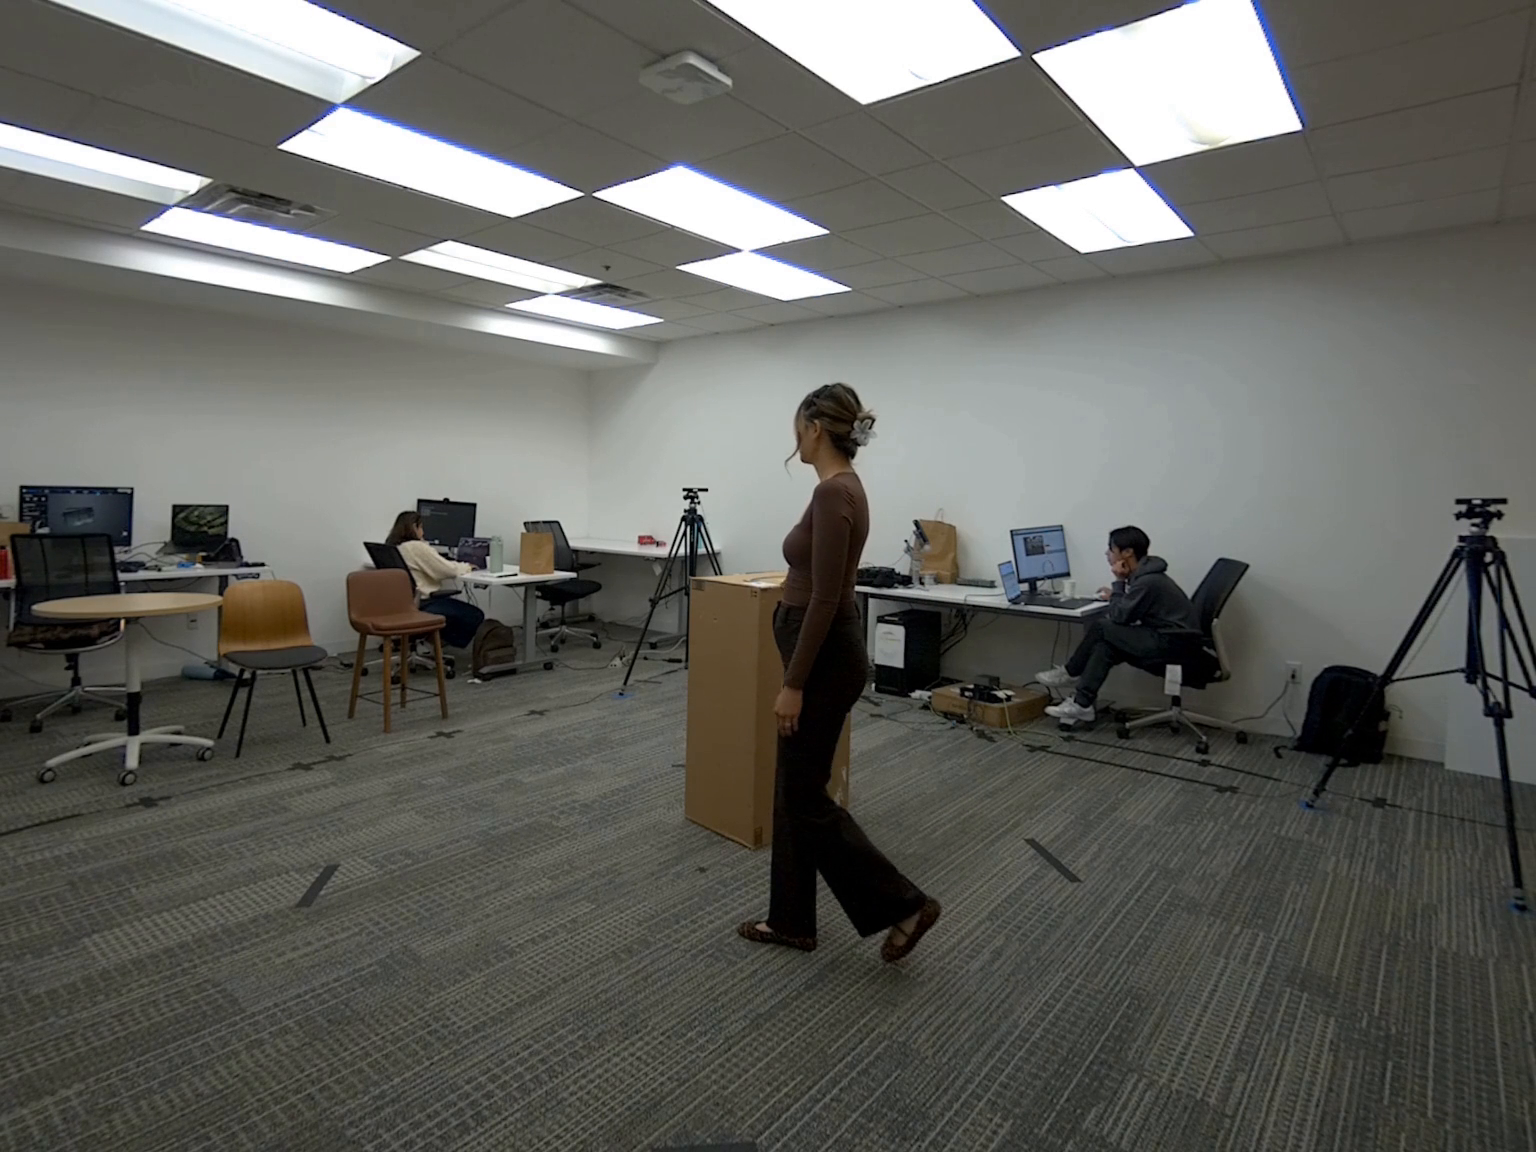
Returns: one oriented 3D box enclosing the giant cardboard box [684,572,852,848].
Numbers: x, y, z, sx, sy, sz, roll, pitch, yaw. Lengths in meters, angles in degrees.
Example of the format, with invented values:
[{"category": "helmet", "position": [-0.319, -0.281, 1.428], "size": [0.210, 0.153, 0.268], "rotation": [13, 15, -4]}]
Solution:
[{"category": "giant cardboard box", "position": [-0.002, 0.514, 3.603], "size": [0.566, 1.024, 0.462], "rotation": [-2, 5, -43]}]
